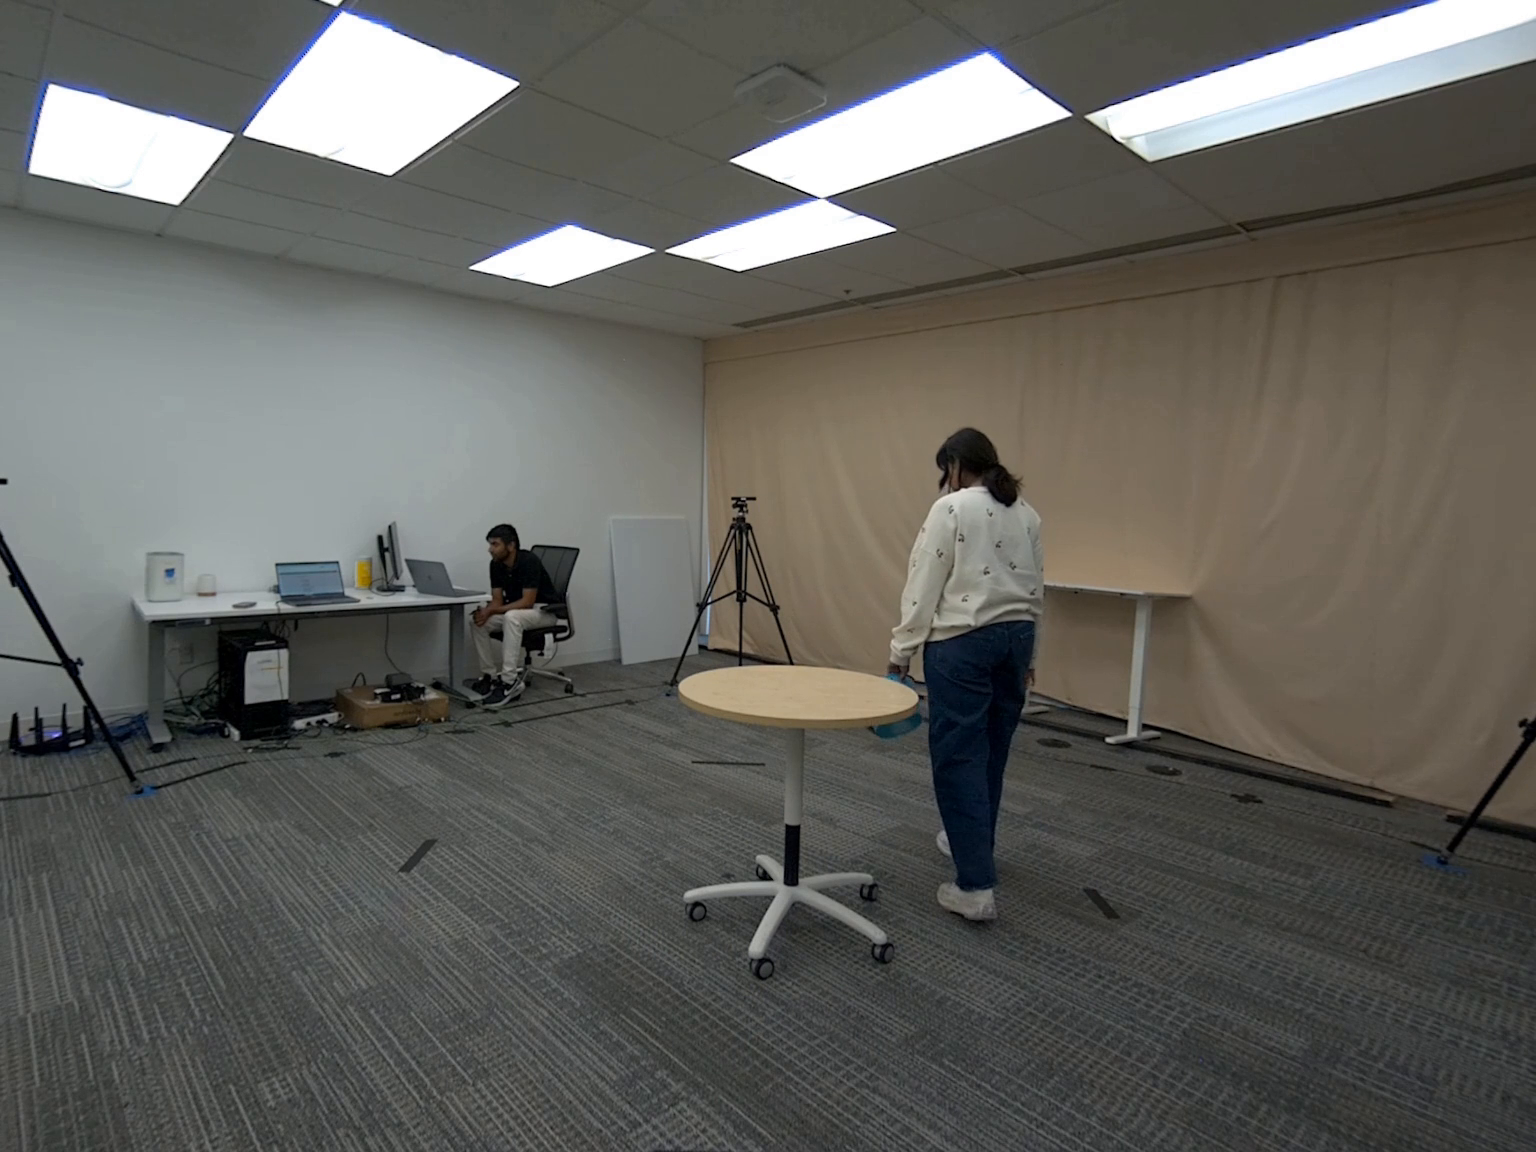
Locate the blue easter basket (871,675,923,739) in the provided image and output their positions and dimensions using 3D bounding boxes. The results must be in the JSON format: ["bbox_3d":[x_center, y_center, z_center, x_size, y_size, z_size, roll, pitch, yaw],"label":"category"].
[{"bbox_3d":[0.468,0.494,3.150,0.240,0.240,0.160,0,47,-19],"label":"blue easter basket"}]
